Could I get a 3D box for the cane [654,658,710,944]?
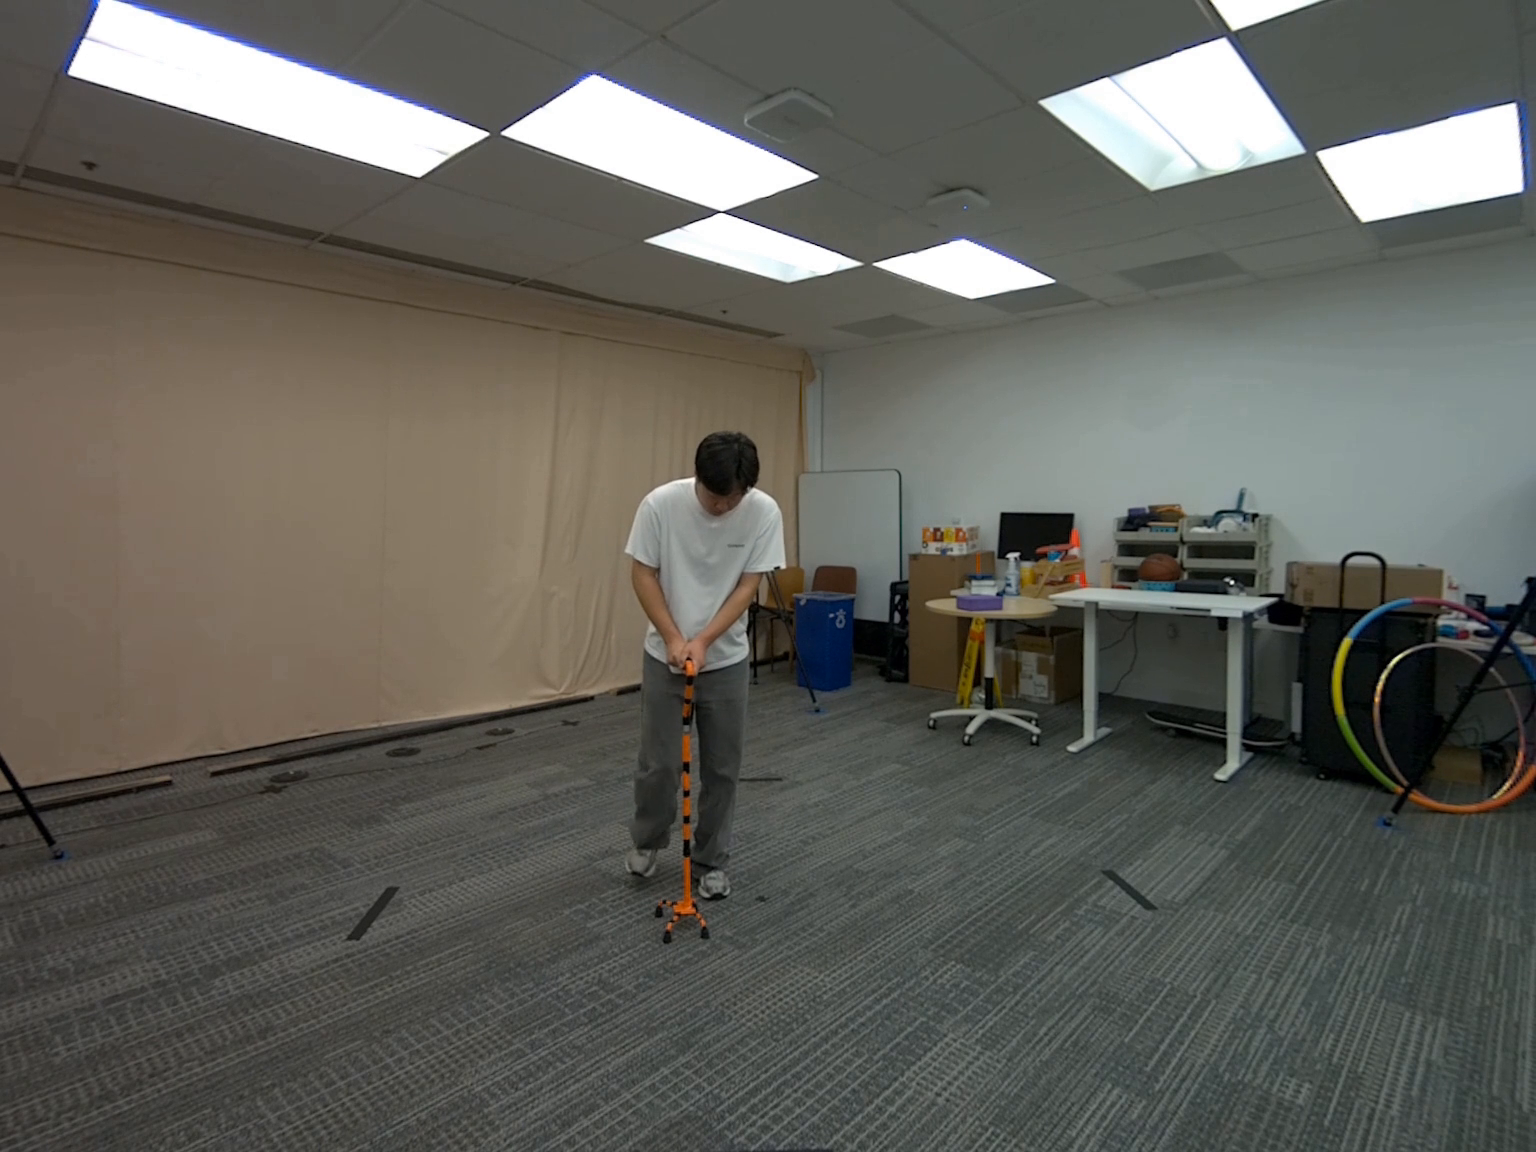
[{"bbox_3d":[-0.276,0.709,2.776,0.149,0.907,0.210,0,2,-18],"label":"cane"}]
